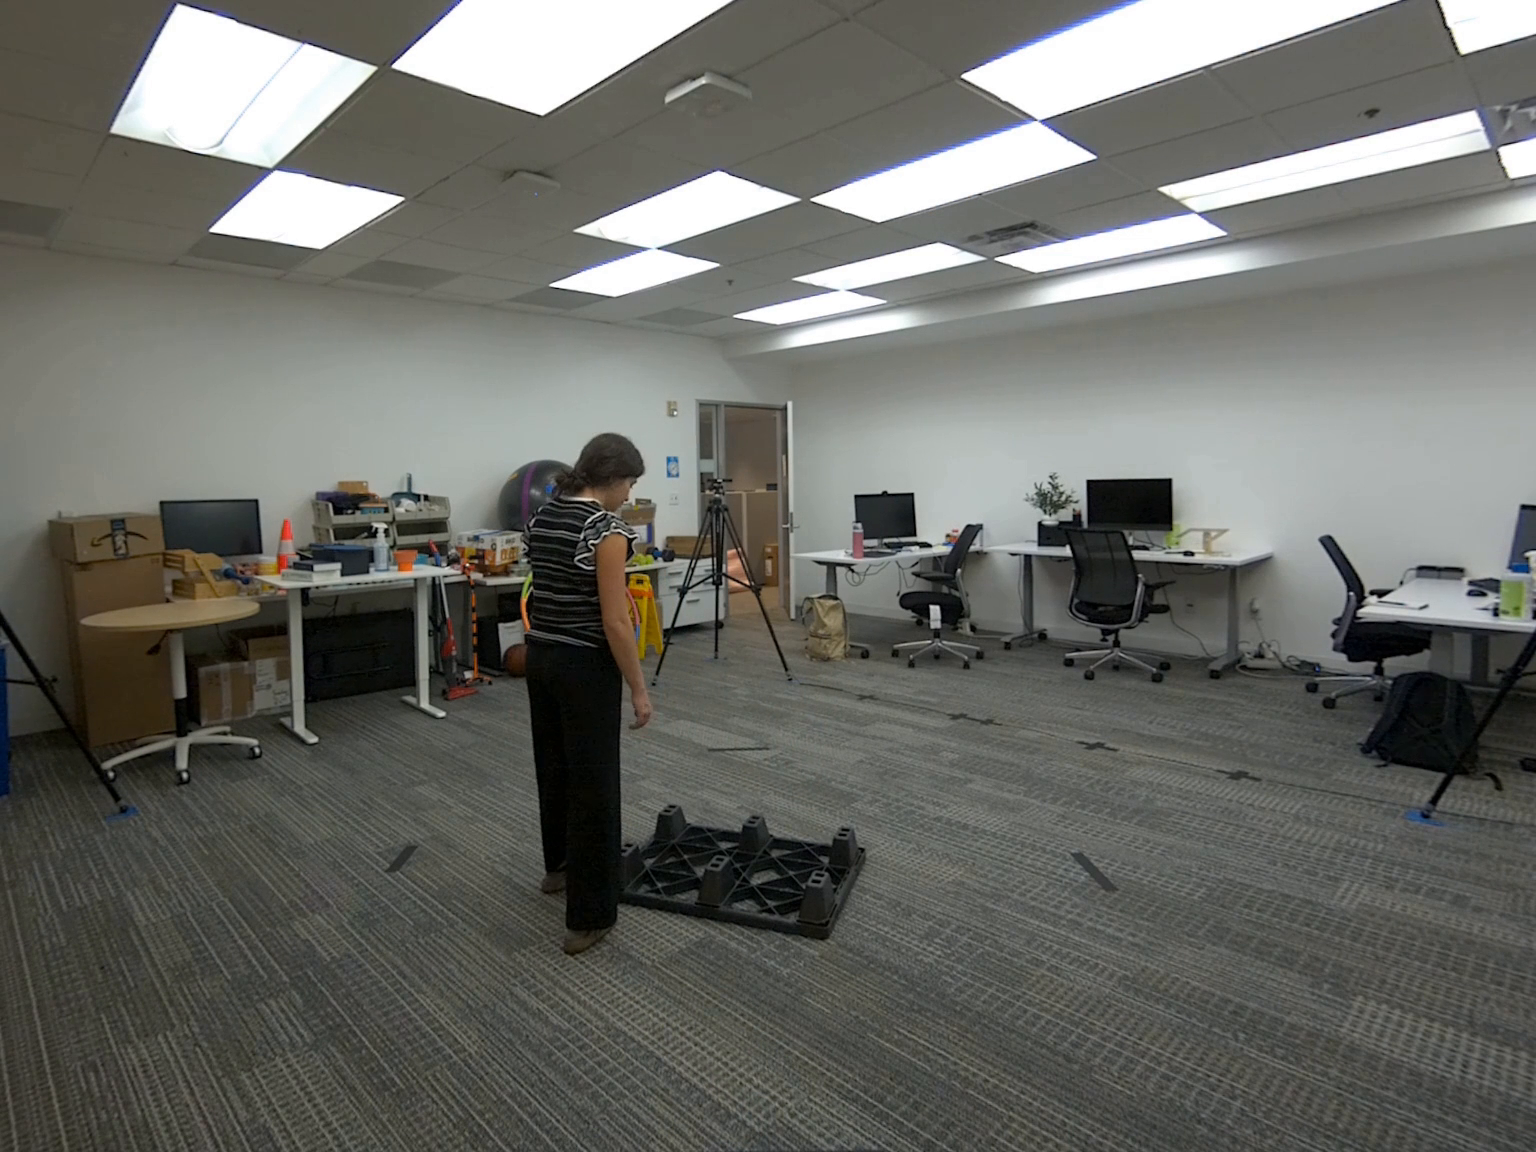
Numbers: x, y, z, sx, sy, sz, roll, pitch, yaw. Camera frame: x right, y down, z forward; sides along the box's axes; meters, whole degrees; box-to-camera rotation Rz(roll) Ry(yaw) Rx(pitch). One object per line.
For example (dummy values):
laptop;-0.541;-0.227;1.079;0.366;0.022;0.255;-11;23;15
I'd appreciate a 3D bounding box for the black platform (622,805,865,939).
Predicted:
black platform;-0.111;0.993;2.992;0.821;0.142;0.596;1;7;20
